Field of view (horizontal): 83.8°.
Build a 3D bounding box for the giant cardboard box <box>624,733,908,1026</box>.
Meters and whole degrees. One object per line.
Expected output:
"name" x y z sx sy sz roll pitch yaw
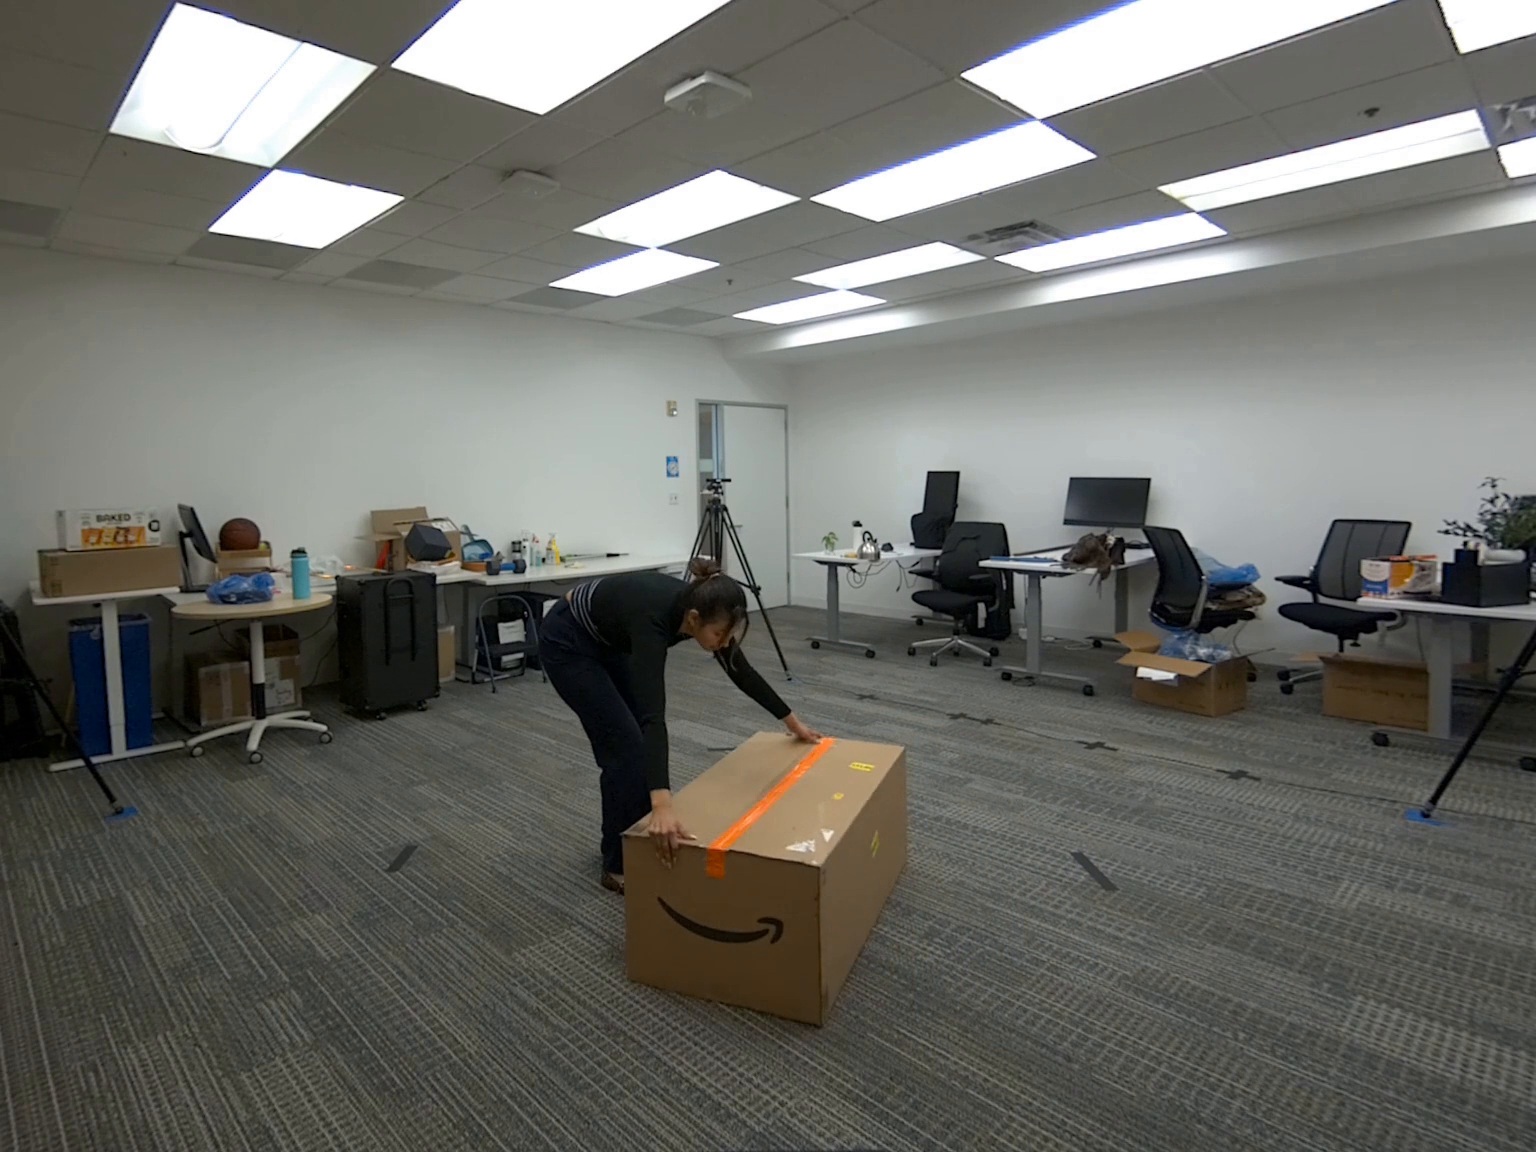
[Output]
"giant cardboard box" 0.050 0.869 2.736 0.590 0.424 1.009 1 6 22
